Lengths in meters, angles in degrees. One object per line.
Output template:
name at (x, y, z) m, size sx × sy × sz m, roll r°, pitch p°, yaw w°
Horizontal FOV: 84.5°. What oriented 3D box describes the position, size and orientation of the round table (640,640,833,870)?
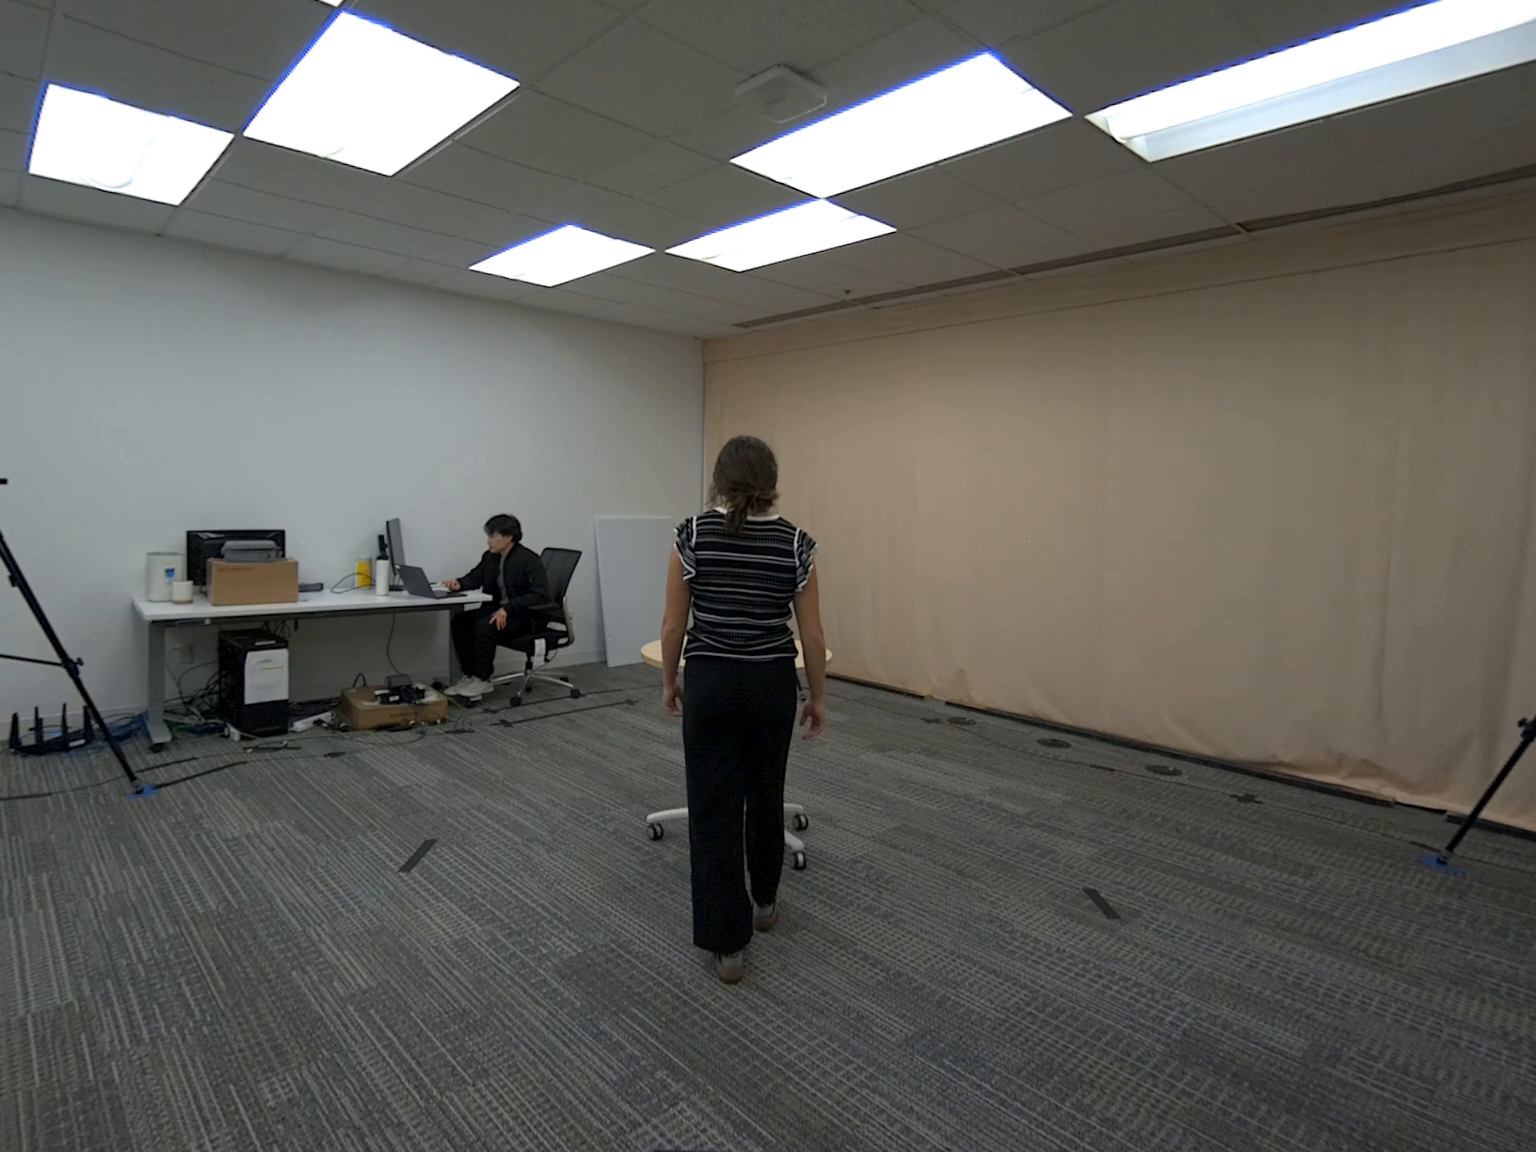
round table at (-0.135, 0.699, 3.397) m, size 0.763 × 0.792 × 0.767 m, roll 2°, pitch 4°, yaw -1°
